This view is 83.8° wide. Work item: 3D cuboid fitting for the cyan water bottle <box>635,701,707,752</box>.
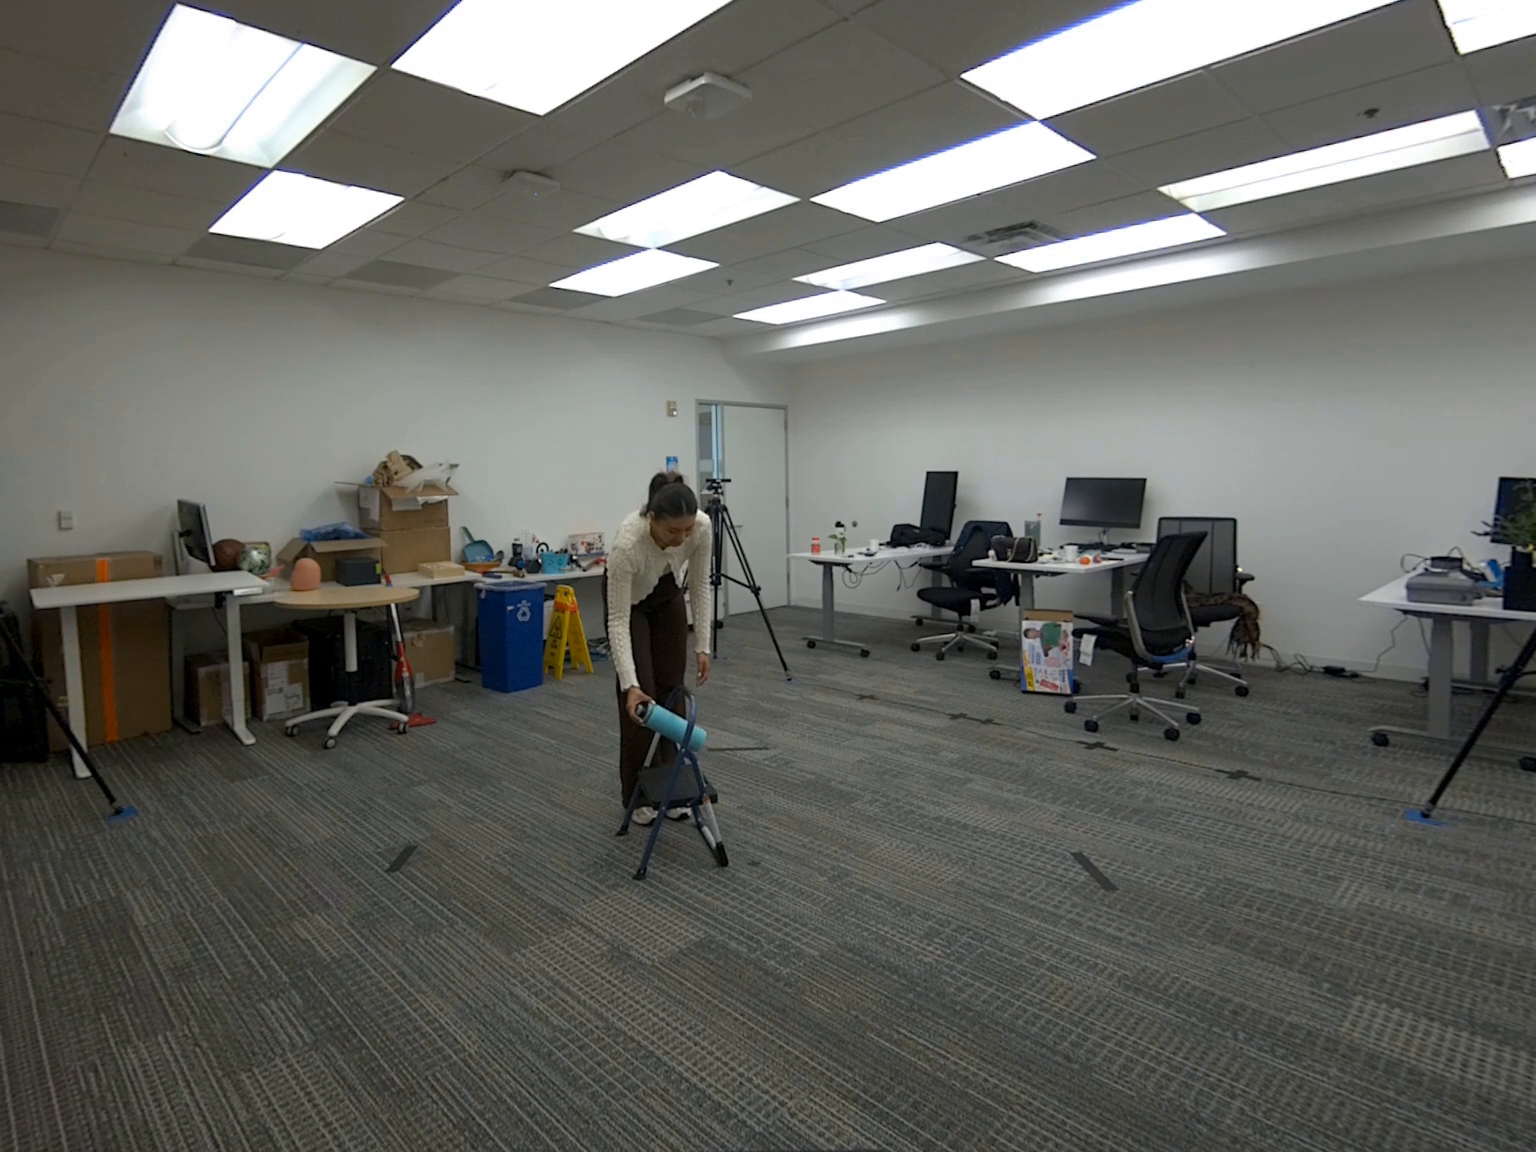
[{"bbox_3d":[-0.378,0.562,3.230,0.281,0.092,0.093,31,0,-7],"label":"cyan water bottle"}]
